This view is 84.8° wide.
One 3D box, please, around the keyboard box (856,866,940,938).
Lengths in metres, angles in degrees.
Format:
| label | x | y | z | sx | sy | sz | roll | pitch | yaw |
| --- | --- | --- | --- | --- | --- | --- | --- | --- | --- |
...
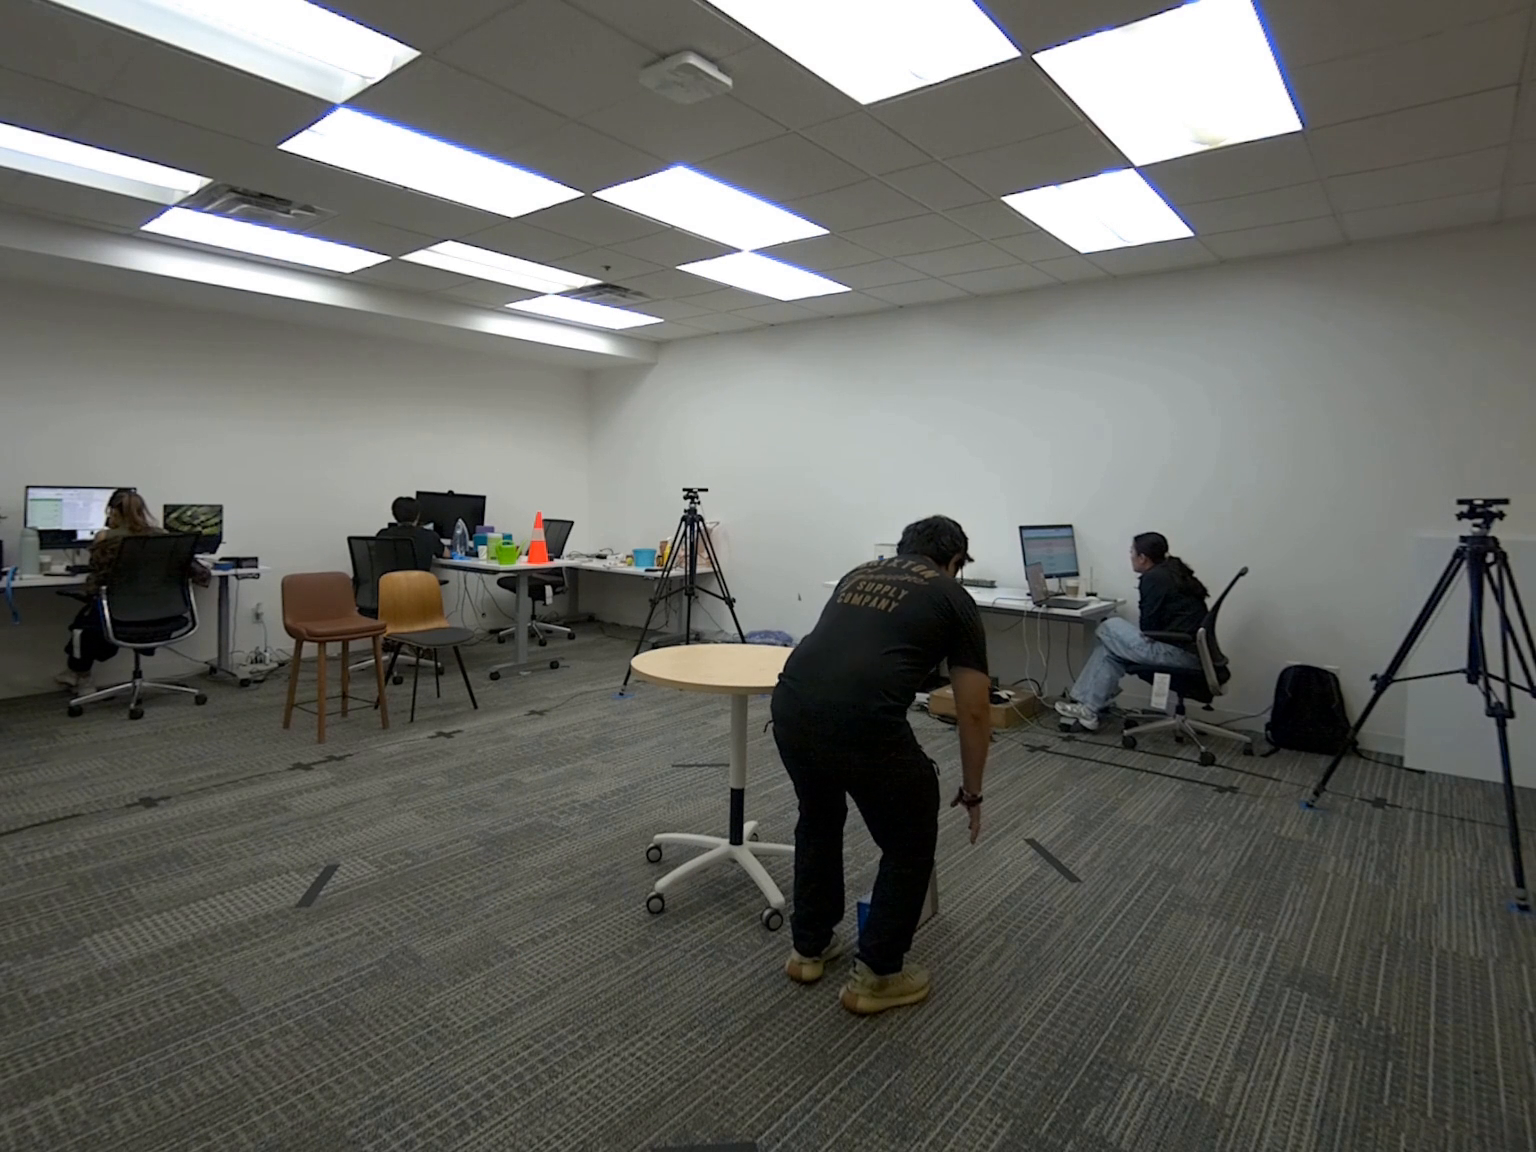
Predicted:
| label | x | y | z | sx | sy | sz | roll | pitch | yaw |
| --- | --- | --- | --- | --- | --- | --- | --- | --- | --- |
| keyboard box | 0.416 | 1.039 | 2.680 | 0.061 | 0.176 | 0.424 | -3 | 2 | 35 |
